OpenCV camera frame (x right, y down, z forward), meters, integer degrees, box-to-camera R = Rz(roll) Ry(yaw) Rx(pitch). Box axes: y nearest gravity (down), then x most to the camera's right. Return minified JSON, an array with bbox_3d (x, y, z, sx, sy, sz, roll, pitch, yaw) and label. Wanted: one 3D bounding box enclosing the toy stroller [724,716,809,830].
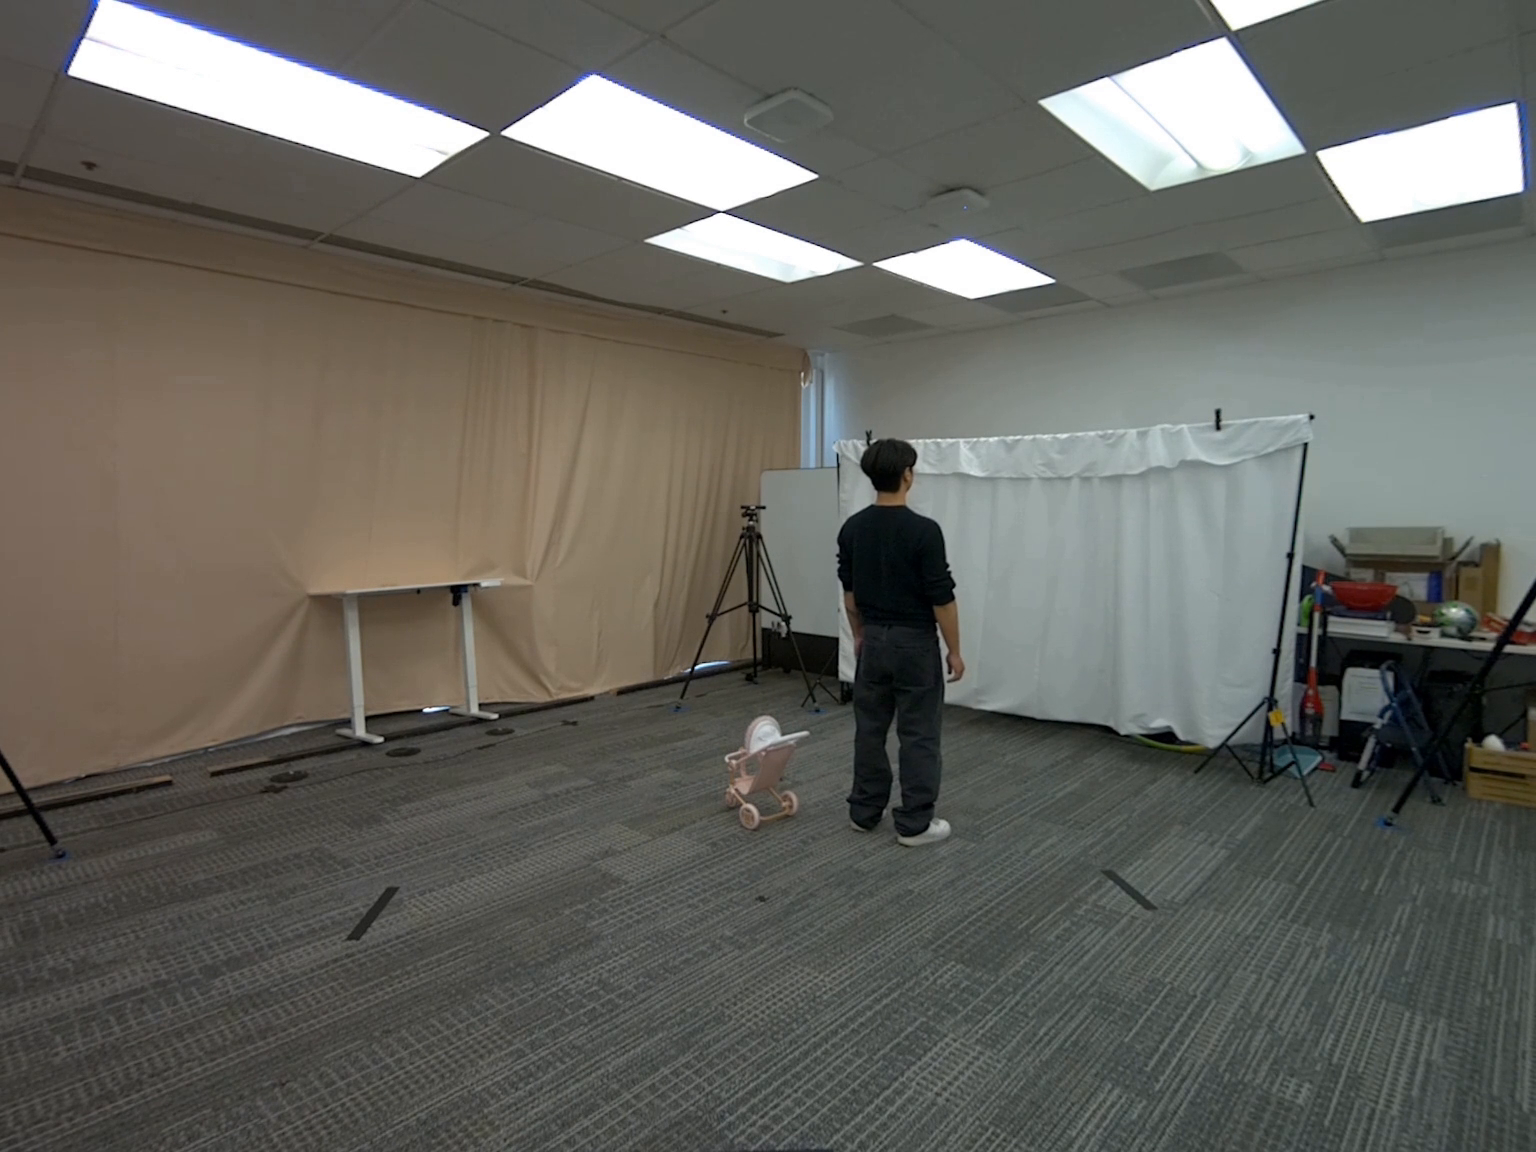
[{"bbox_3d":[-0.032,0.857,3.757,0.273,0.531,0.354,-1,20,-40],"label":"toy stroller"}]
